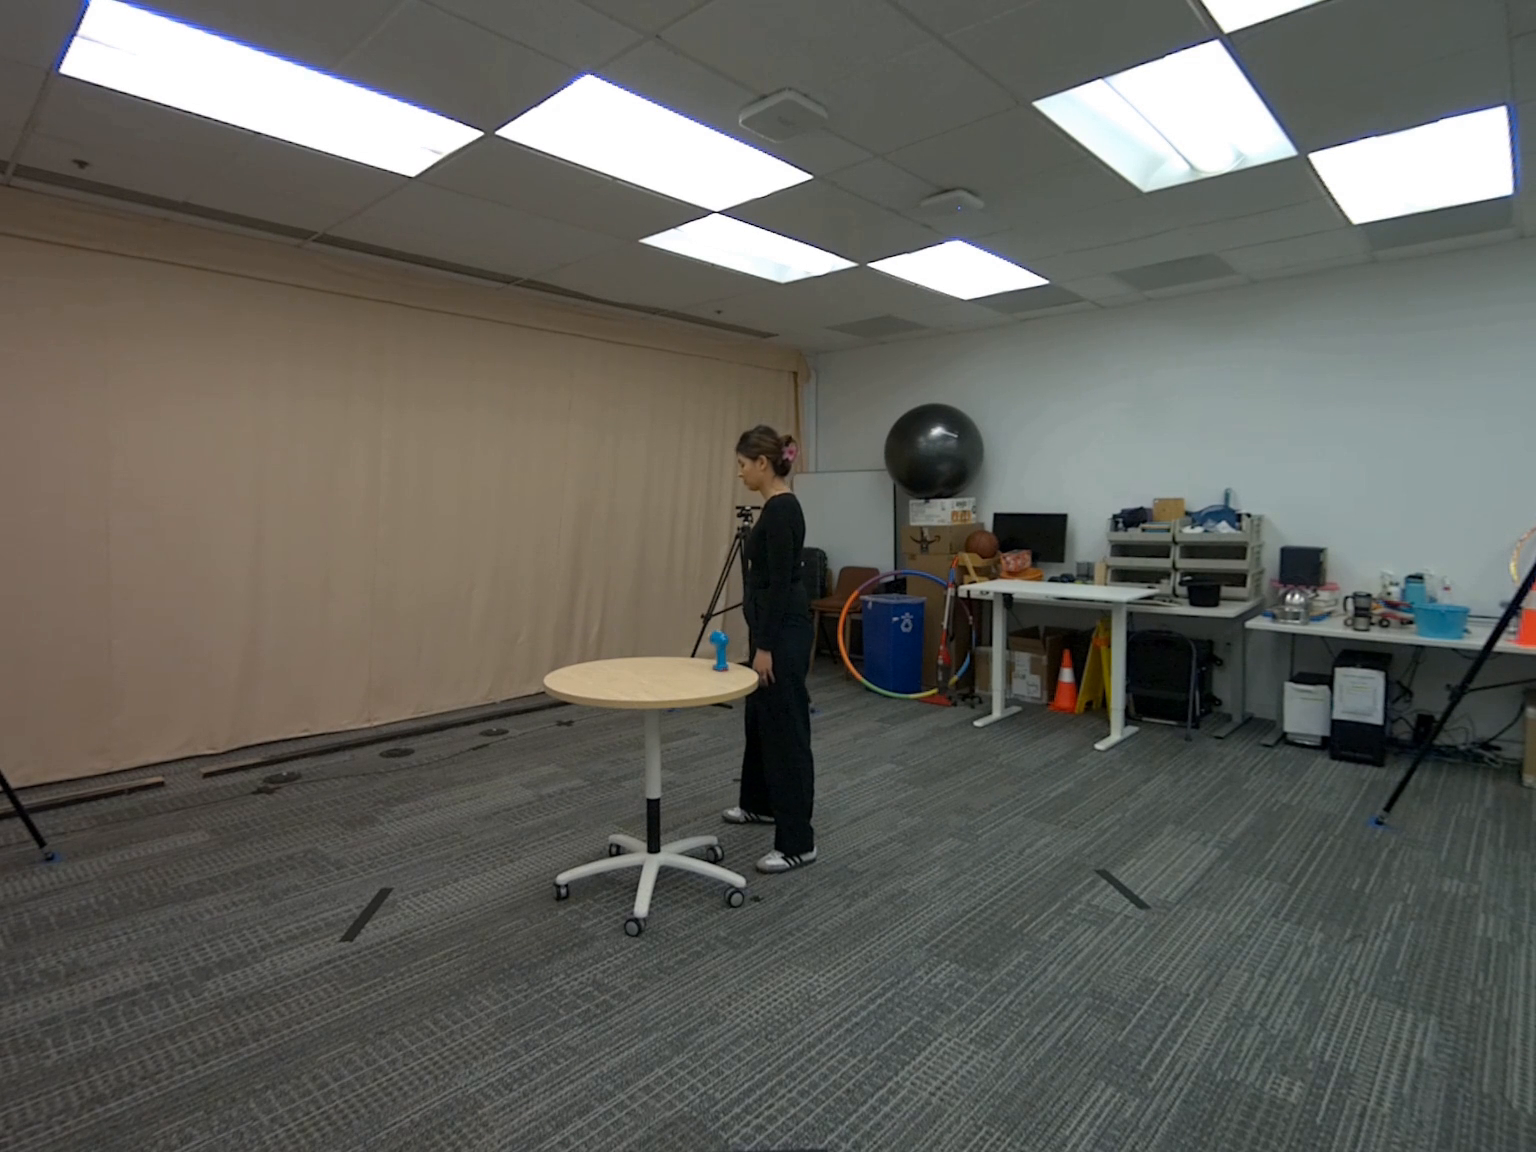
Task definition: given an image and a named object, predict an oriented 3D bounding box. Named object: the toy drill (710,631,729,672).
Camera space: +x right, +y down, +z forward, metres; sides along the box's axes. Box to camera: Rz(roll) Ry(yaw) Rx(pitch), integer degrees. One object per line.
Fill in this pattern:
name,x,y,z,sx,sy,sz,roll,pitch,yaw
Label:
toy drill,-0.192,0.274,3.169,0.060,0.146,0.174,-2,4,-24
